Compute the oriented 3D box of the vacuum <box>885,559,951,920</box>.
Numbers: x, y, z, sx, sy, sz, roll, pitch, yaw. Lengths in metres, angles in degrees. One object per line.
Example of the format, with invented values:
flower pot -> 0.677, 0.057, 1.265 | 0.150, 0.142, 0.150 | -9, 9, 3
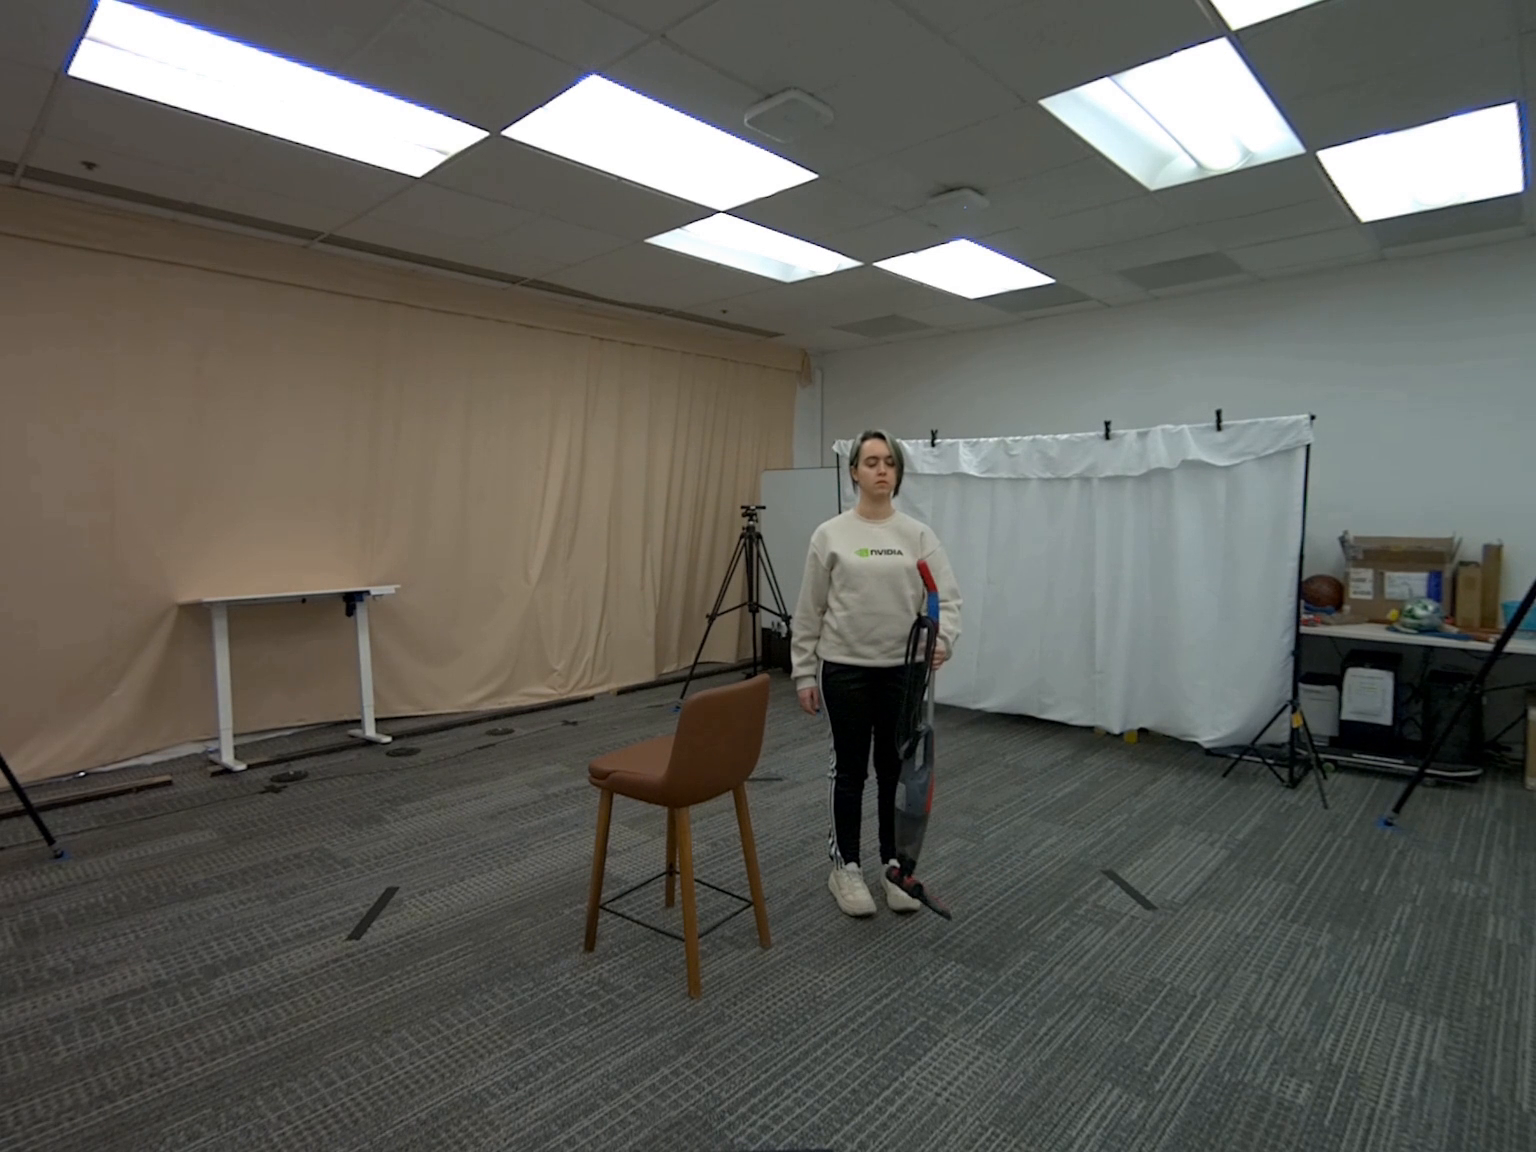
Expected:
vacuum -> 0.470, 0.481, 2.638 | 0.140, 1.045, 0.260 | -4, 6, -31
